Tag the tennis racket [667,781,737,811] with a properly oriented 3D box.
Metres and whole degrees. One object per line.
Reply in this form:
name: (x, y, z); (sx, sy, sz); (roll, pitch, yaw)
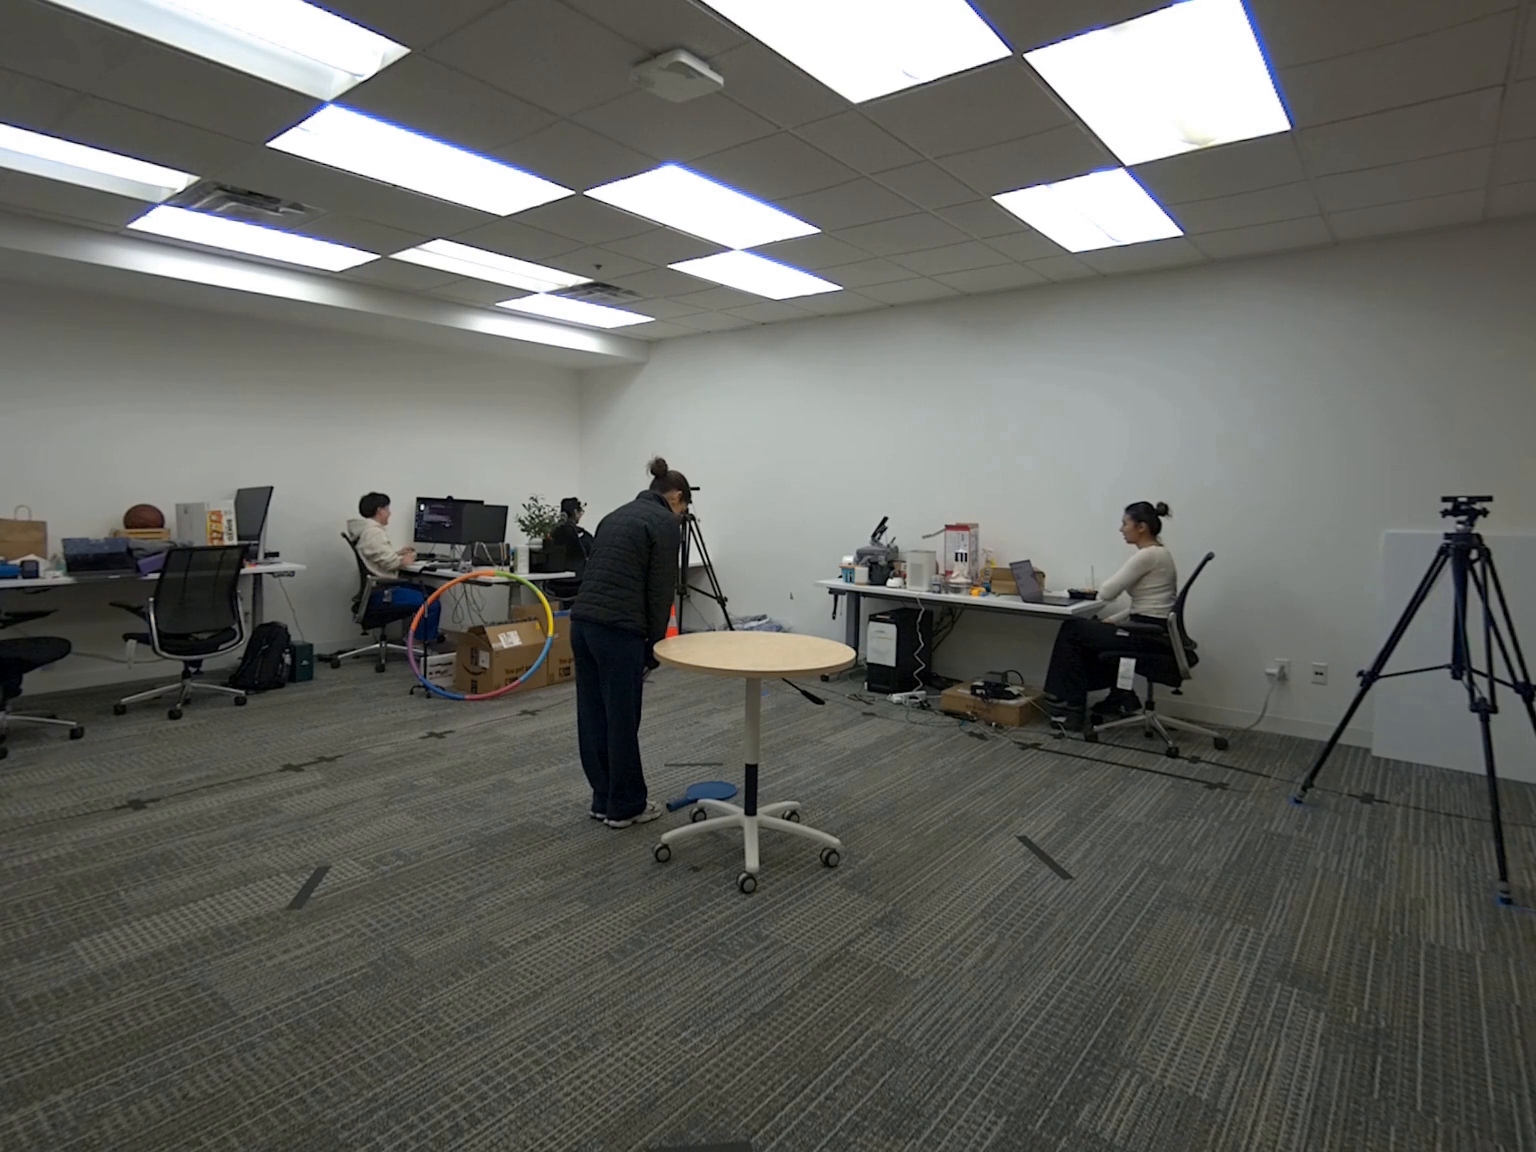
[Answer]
tennis racket: (-0.288, 0.978, 3.834); (0.221, 0.032, 0.420); (5, 5, 36)
